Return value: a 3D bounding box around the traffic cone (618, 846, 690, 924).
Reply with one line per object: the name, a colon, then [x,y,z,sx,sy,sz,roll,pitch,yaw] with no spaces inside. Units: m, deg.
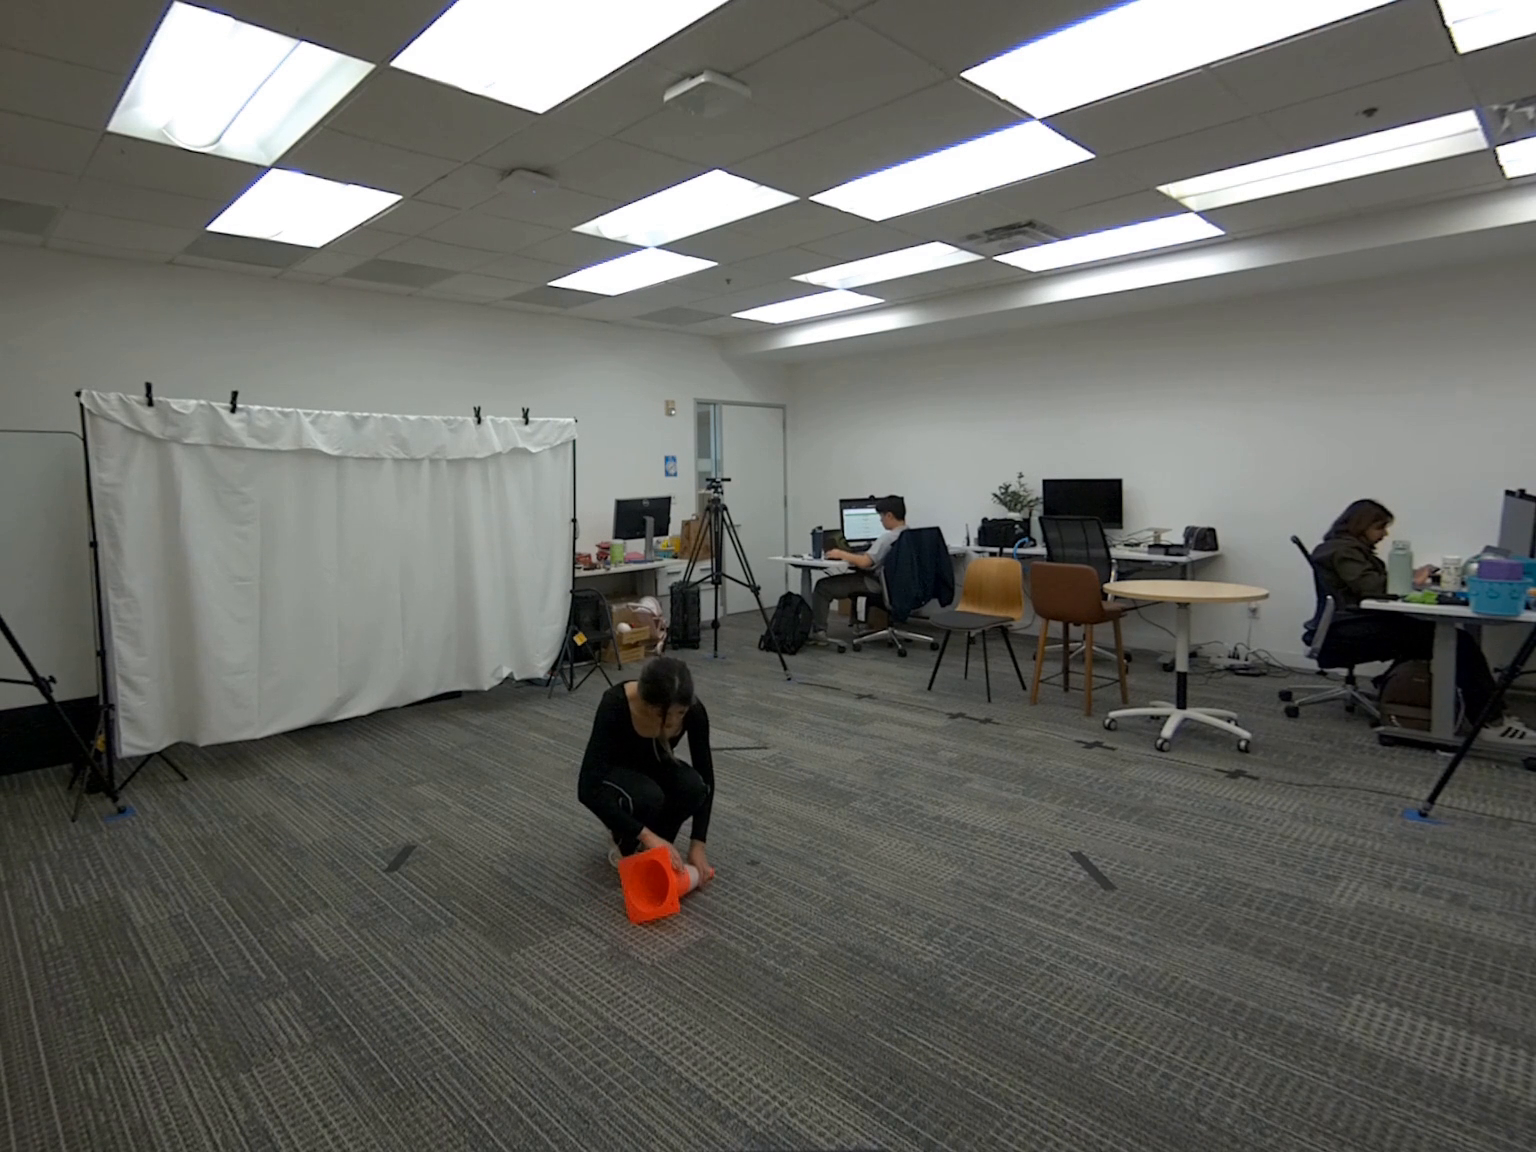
traffic cone: [-0.297,1.020,2.852,0.206,0.209,0.371,-21,-20,22]
